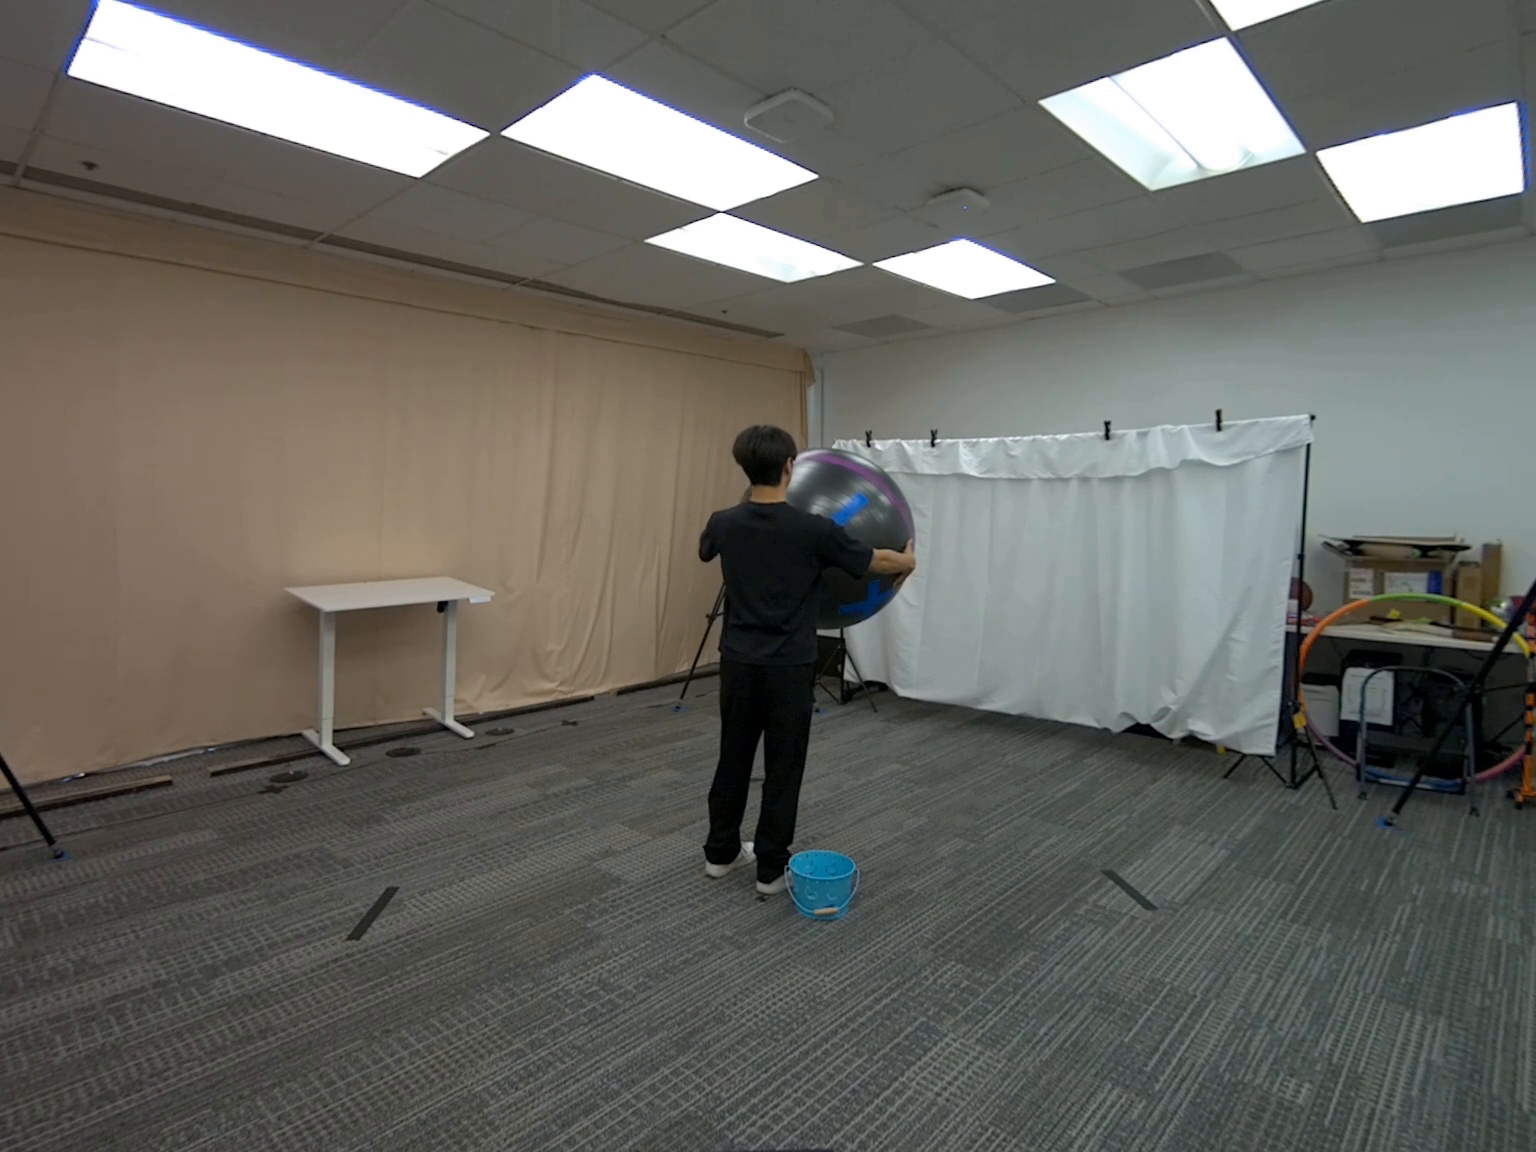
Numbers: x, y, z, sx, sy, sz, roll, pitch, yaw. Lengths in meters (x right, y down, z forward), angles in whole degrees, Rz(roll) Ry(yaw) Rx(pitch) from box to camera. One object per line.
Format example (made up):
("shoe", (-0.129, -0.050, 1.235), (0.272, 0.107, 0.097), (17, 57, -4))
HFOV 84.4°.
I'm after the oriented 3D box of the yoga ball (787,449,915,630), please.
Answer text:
("yoga ball", (0.236, -0.150, 3.554), (0.757, 0.756, 0.761), (0, 4, -2))
